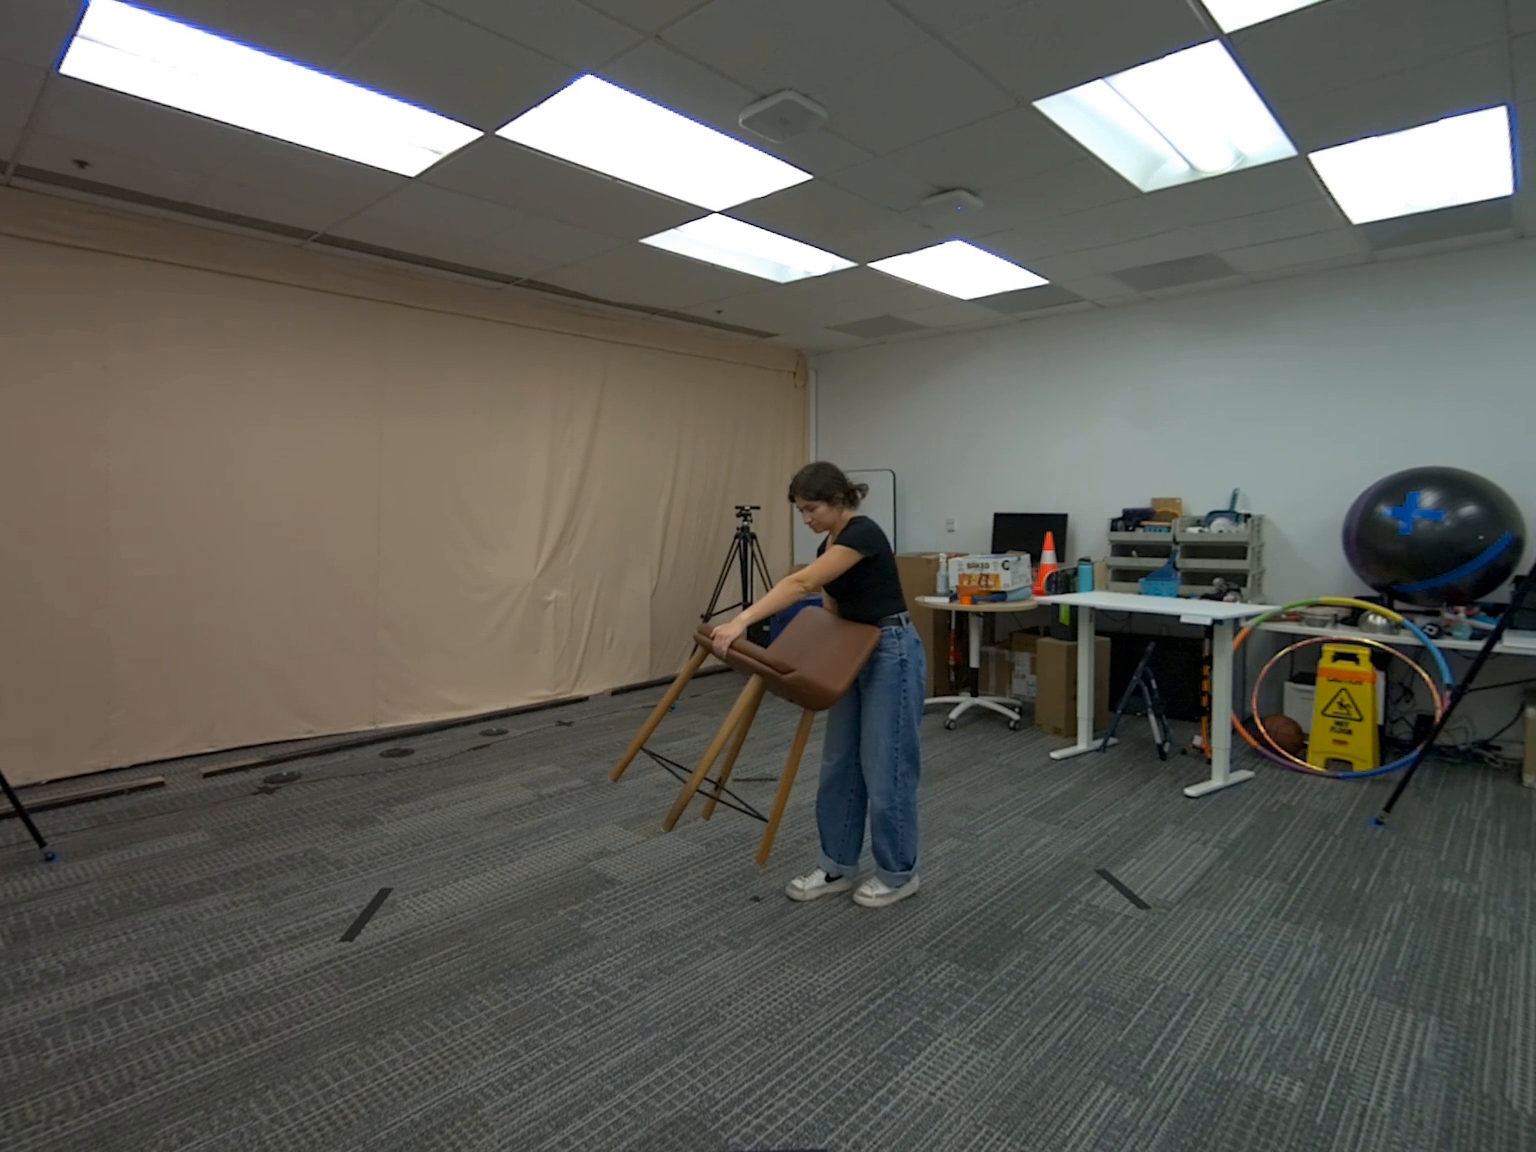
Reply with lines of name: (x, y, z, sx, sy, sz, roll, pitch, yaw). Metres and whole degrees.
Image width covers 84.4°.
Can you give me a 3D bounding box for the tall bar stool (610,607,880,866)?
tall bar stool: (-0.060, 0.440, 2.811, 0.452, 0.889, 0.472, 35, -10, -33)
